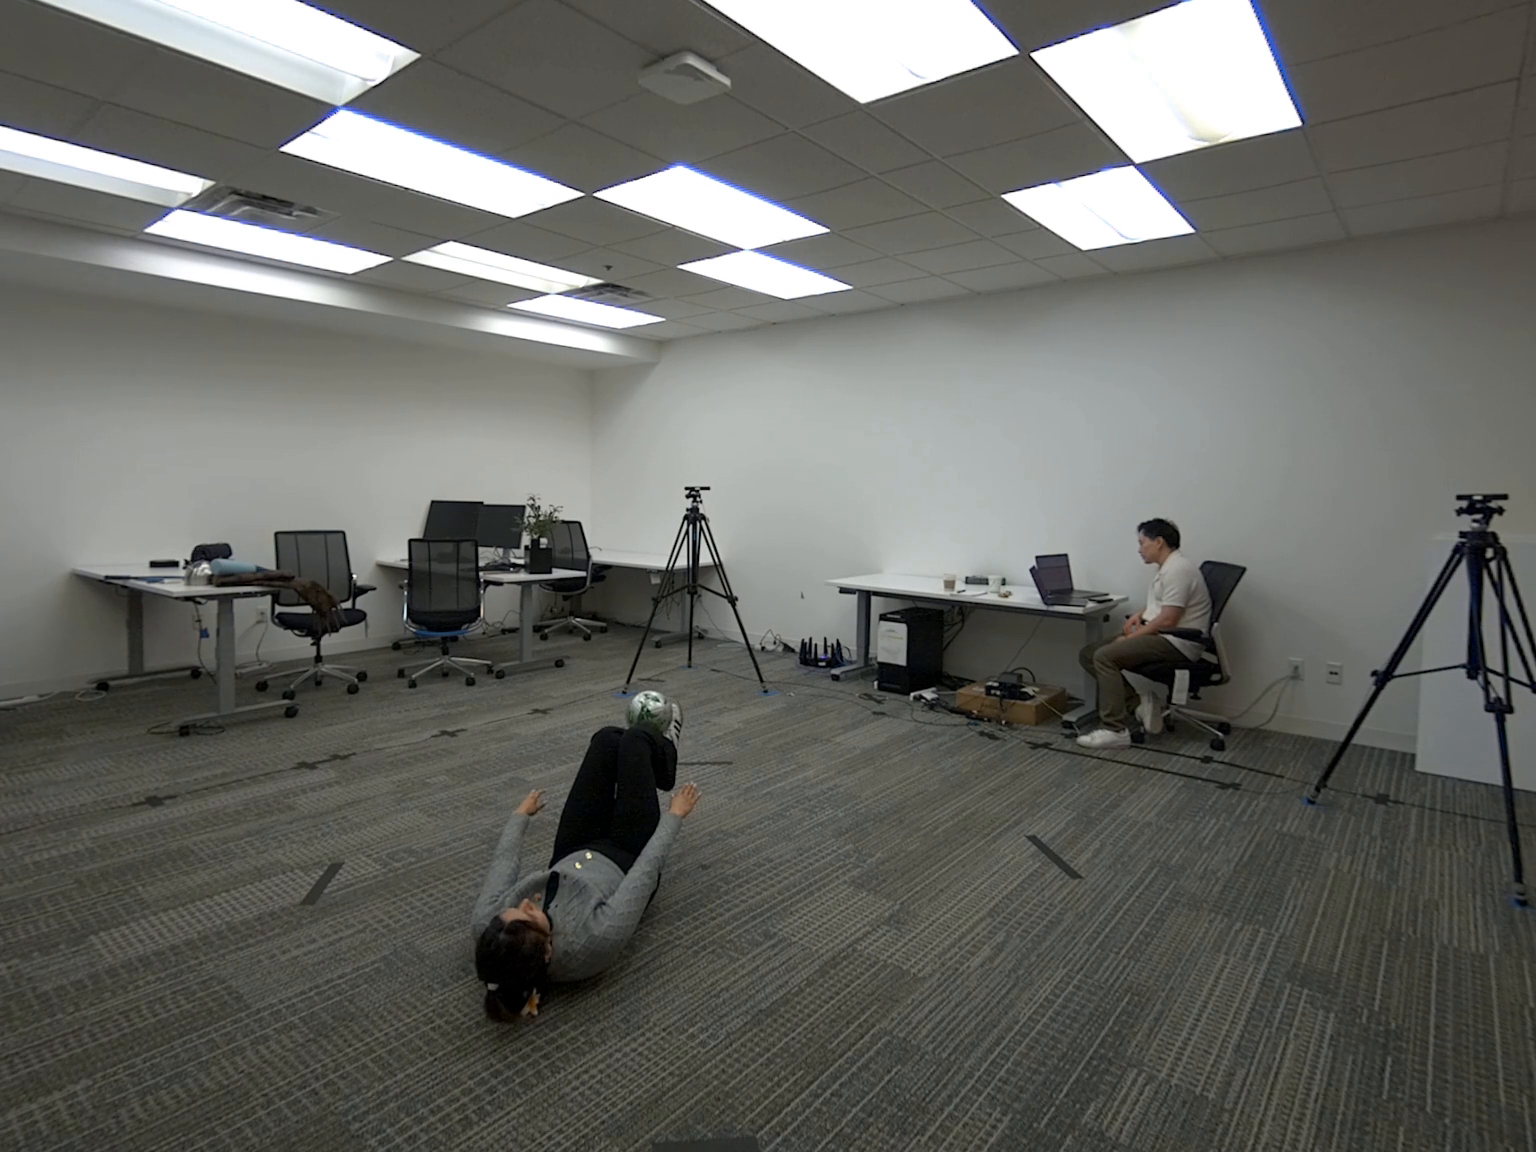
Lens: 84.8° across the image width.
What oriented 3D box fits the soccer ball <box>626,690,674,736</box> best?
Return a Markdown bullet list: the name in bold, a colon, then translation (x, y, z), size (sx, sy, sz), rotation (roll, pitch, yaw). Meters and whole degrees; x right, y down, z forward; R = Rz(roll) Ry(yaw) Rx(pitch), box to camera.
- **soccer ball**: translation (-0.477, 0.553, 3.363), size (0.187, 0.187, 0.188), rotation (0, 4, -2)
